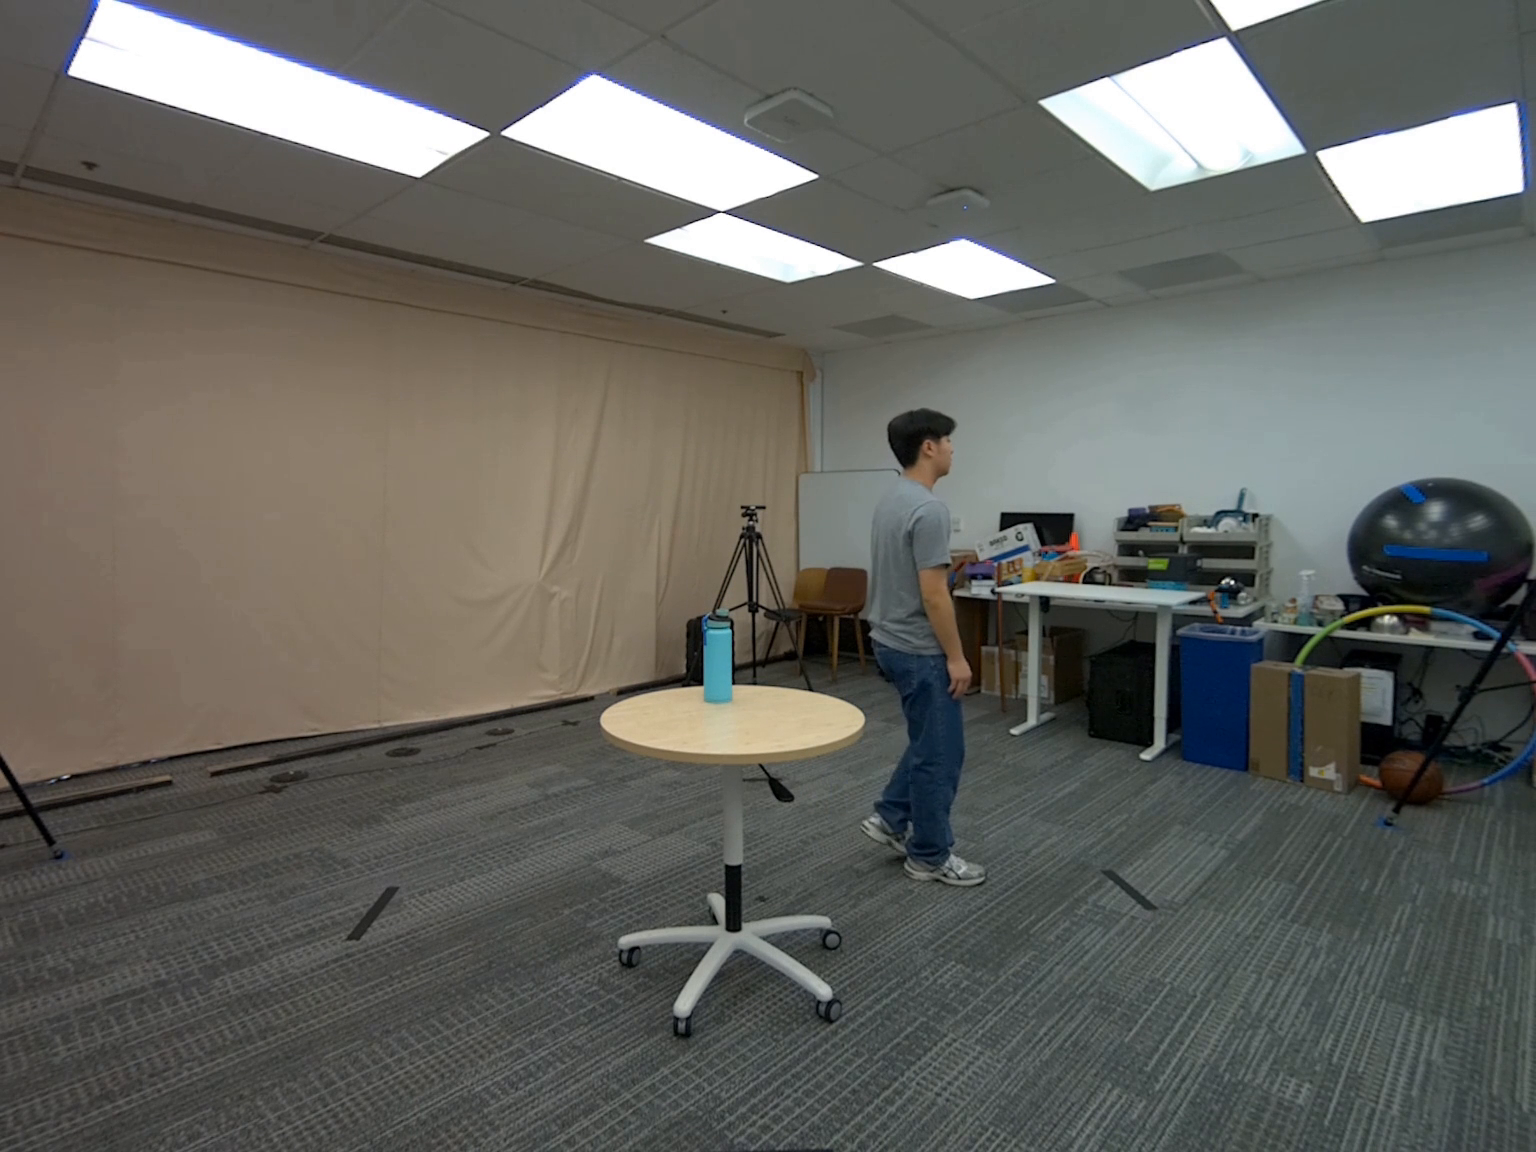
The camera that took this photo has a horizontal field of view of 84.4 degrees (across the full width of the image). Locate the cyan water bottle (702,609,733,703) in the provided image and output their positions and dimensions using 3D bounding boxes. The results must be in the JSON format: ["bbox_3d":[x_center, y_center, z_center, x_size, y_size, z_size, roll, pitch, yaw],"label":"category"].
[{"bbox_3d":[-0.158,0.251,2.623,0.092,0.283,0.092,-1,2,-2],"label":"cyan water bottle"}]
